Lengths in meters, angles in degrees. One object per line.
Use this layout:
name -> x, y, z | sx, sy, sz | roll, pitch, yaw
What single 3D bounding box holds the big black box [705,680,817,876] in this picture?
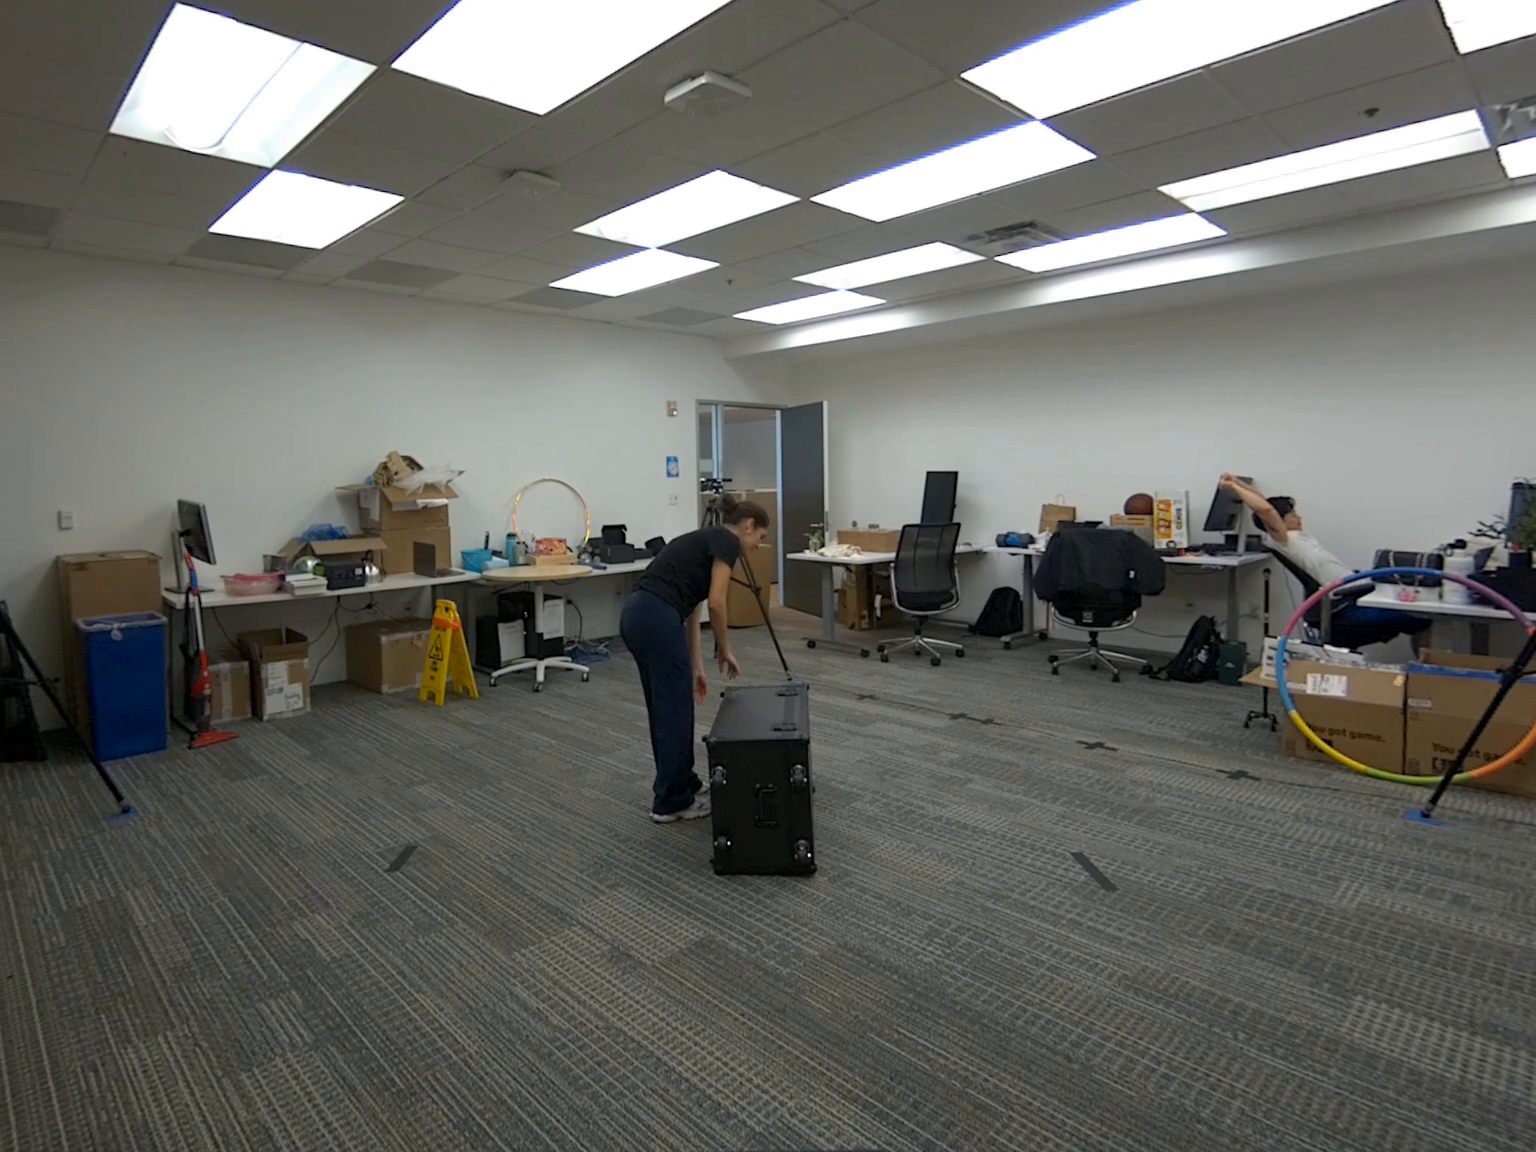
big black box -> -0.022, 0.759, 3.346 | 0.398, 0.519, 0.861 | -3, 5, 3
